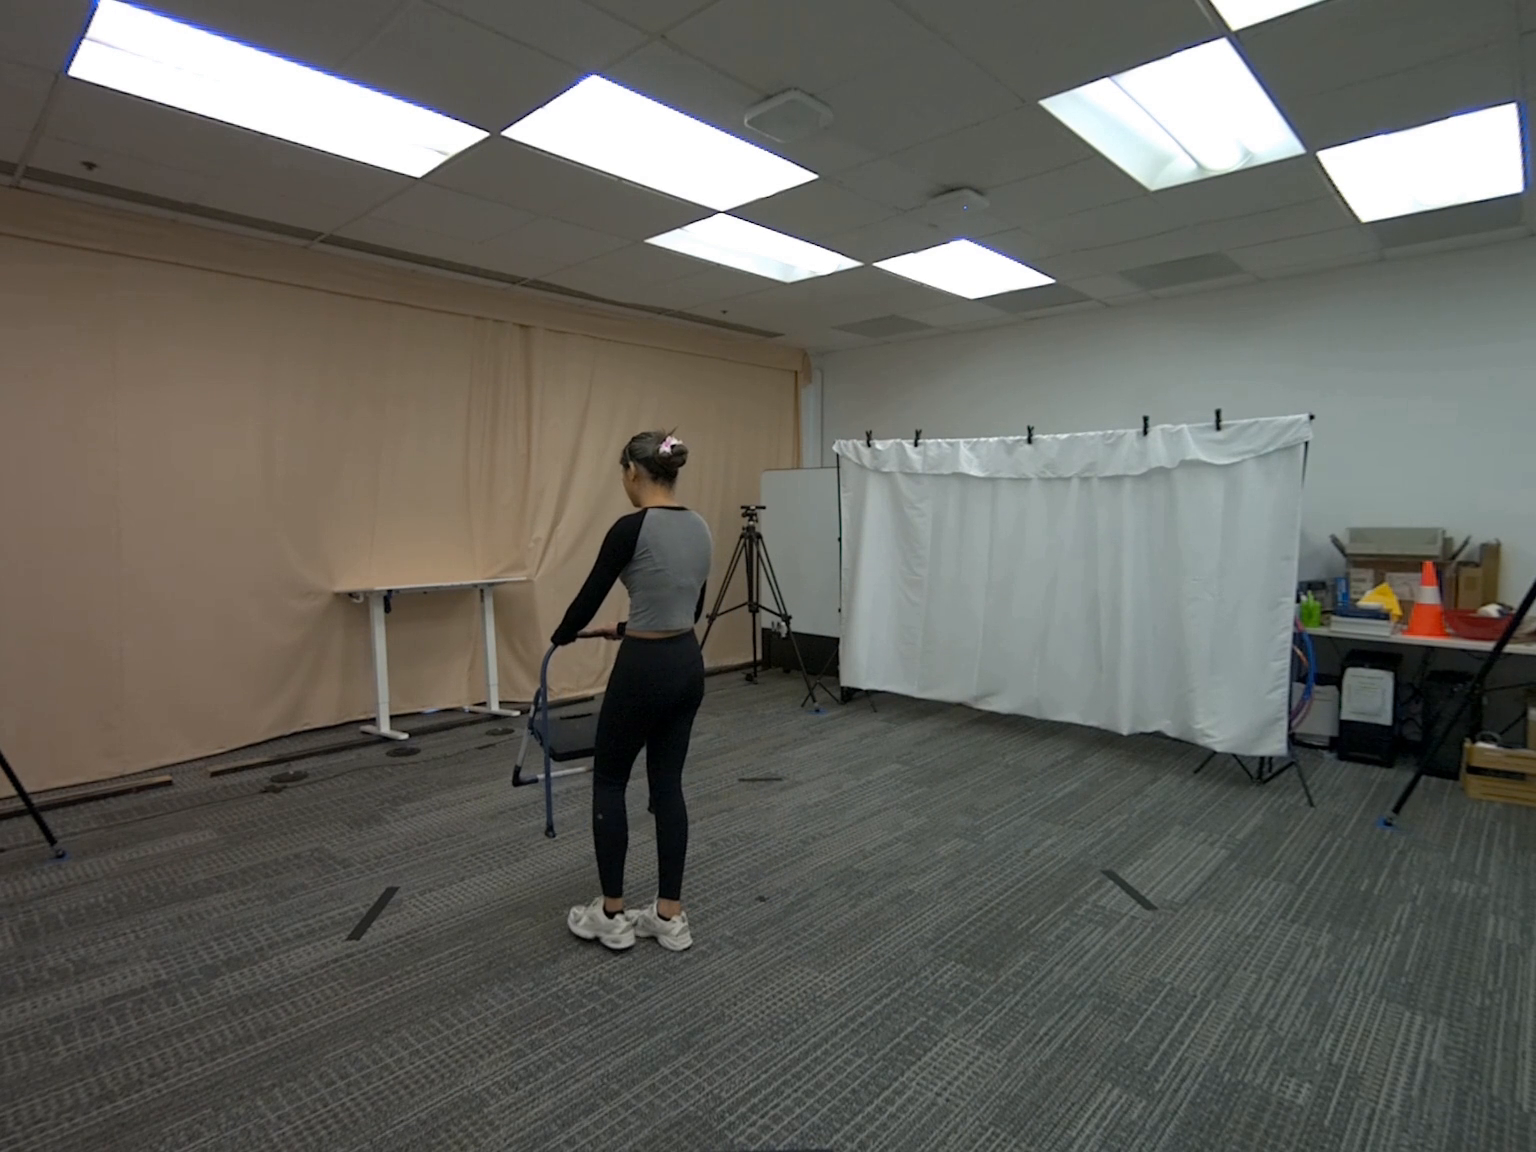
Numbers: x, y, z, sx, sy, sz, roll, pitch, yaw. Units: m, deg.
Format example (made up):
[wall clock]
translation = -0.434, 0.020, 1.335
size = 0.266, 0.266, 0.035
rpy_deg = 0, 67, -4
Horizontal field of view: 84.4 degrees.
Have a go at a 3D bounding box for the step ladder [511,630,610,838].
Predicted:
[step ladder]
translation = -0.607, 0.509, 2.928
size = 0.417, 0.602, 0.362
rpy_deg = -2, 18, -39
